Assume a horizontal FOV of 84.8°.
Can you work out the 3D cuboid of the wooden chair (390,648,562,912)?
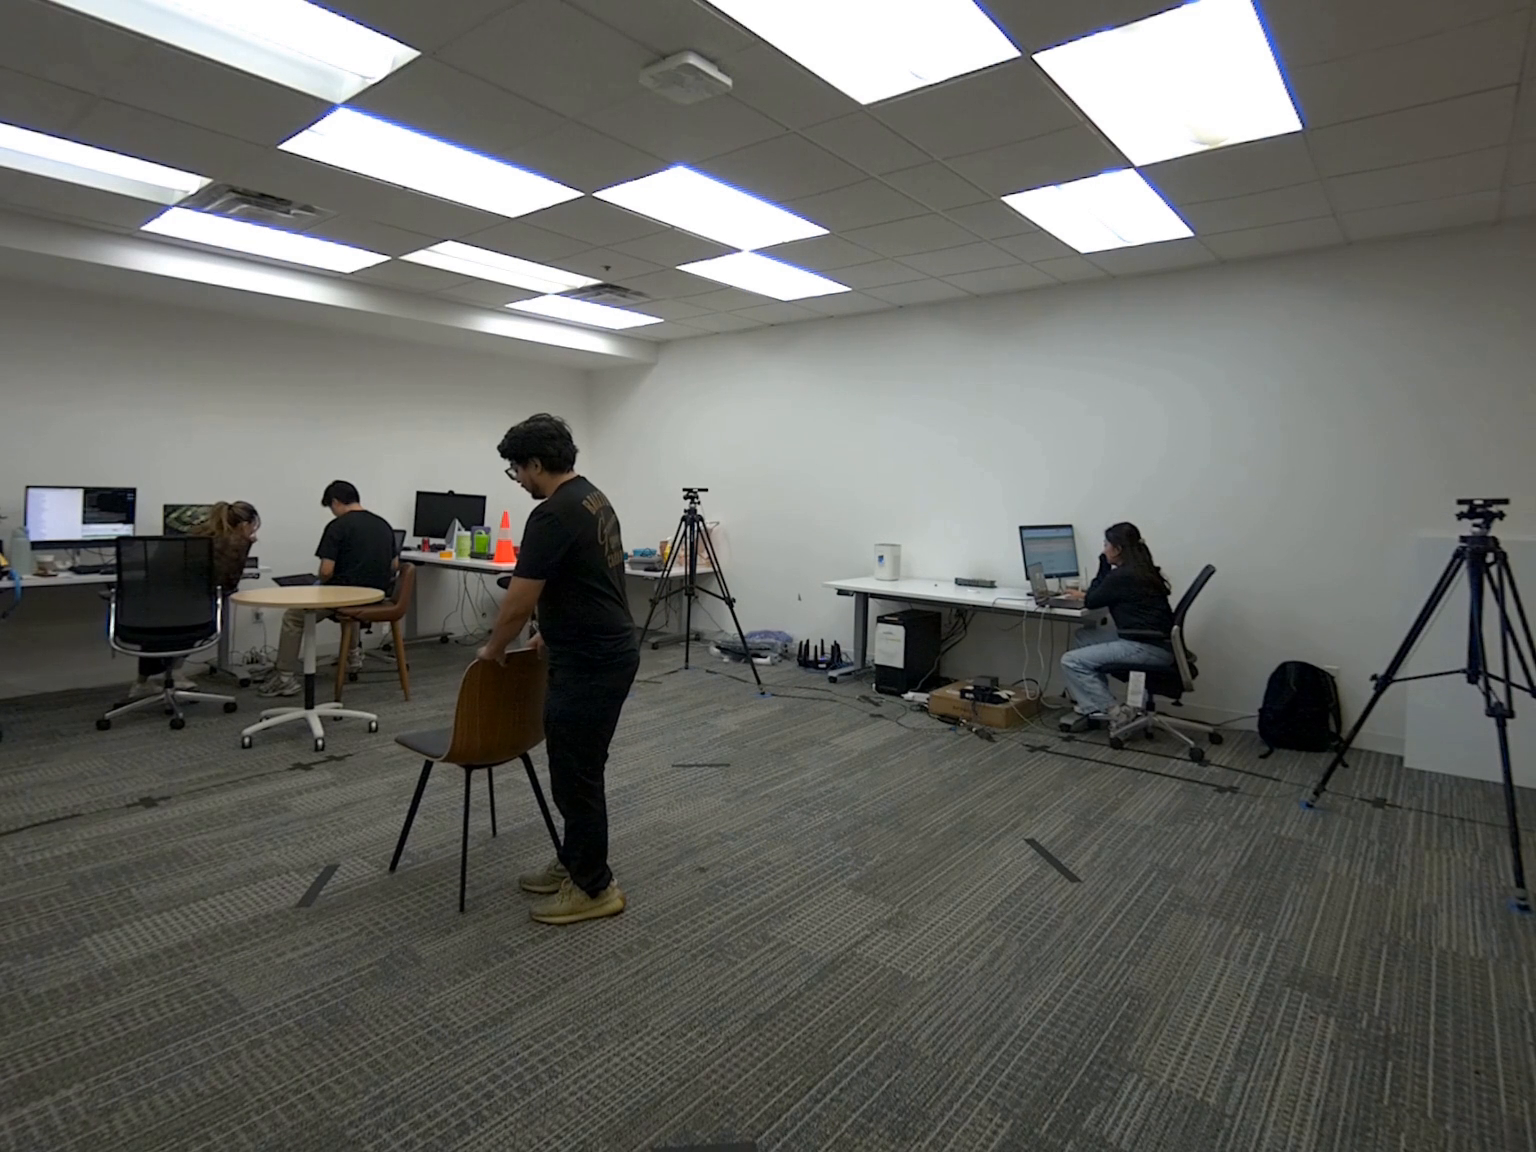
[{"bbox_3d":[-1.056,0.633,3.050,0.542,0.872,0.464,10,8,38],"label":"wooden chair"}]
